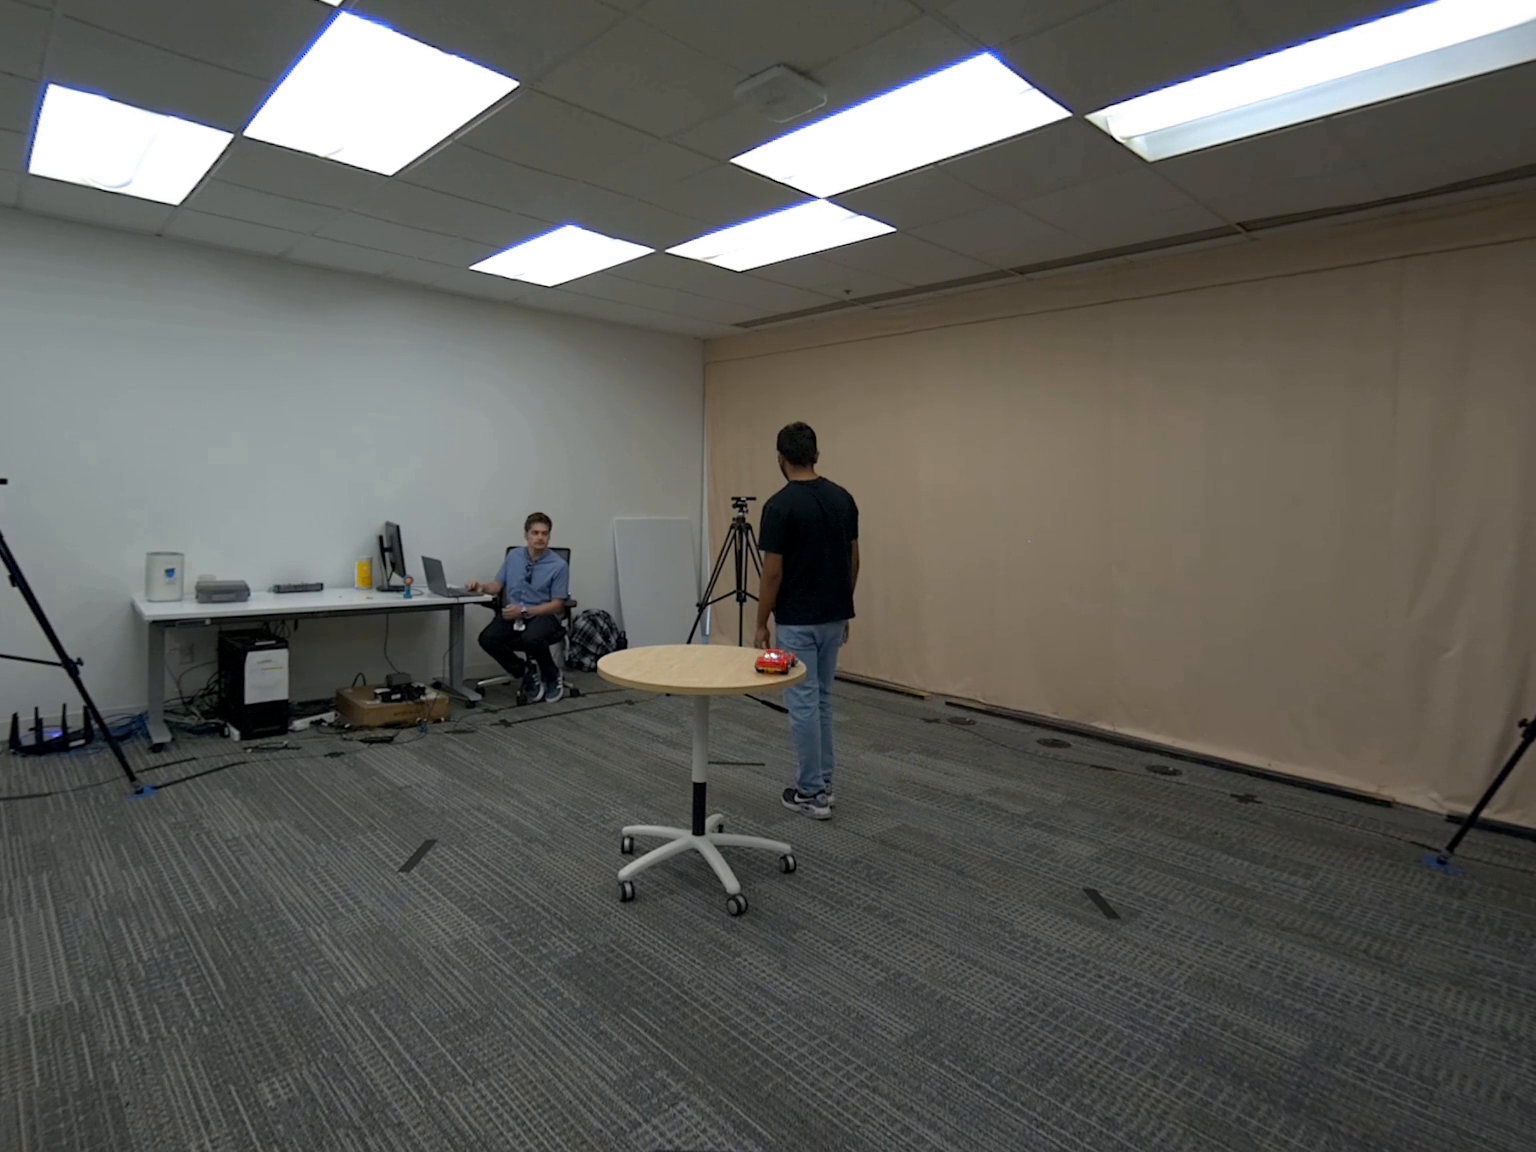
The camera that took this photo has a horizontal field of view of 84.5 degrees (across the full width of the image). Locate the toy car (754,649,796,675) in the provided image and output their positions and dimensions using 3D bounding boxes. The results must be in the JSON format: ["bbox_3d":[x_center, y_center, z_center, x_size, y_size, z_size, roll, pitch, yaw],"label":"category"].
[{"bbox_3d":[0.017,0.305,3.003,0.132,0.083,0.250,4,-6,13],"label":"toy car"}]
